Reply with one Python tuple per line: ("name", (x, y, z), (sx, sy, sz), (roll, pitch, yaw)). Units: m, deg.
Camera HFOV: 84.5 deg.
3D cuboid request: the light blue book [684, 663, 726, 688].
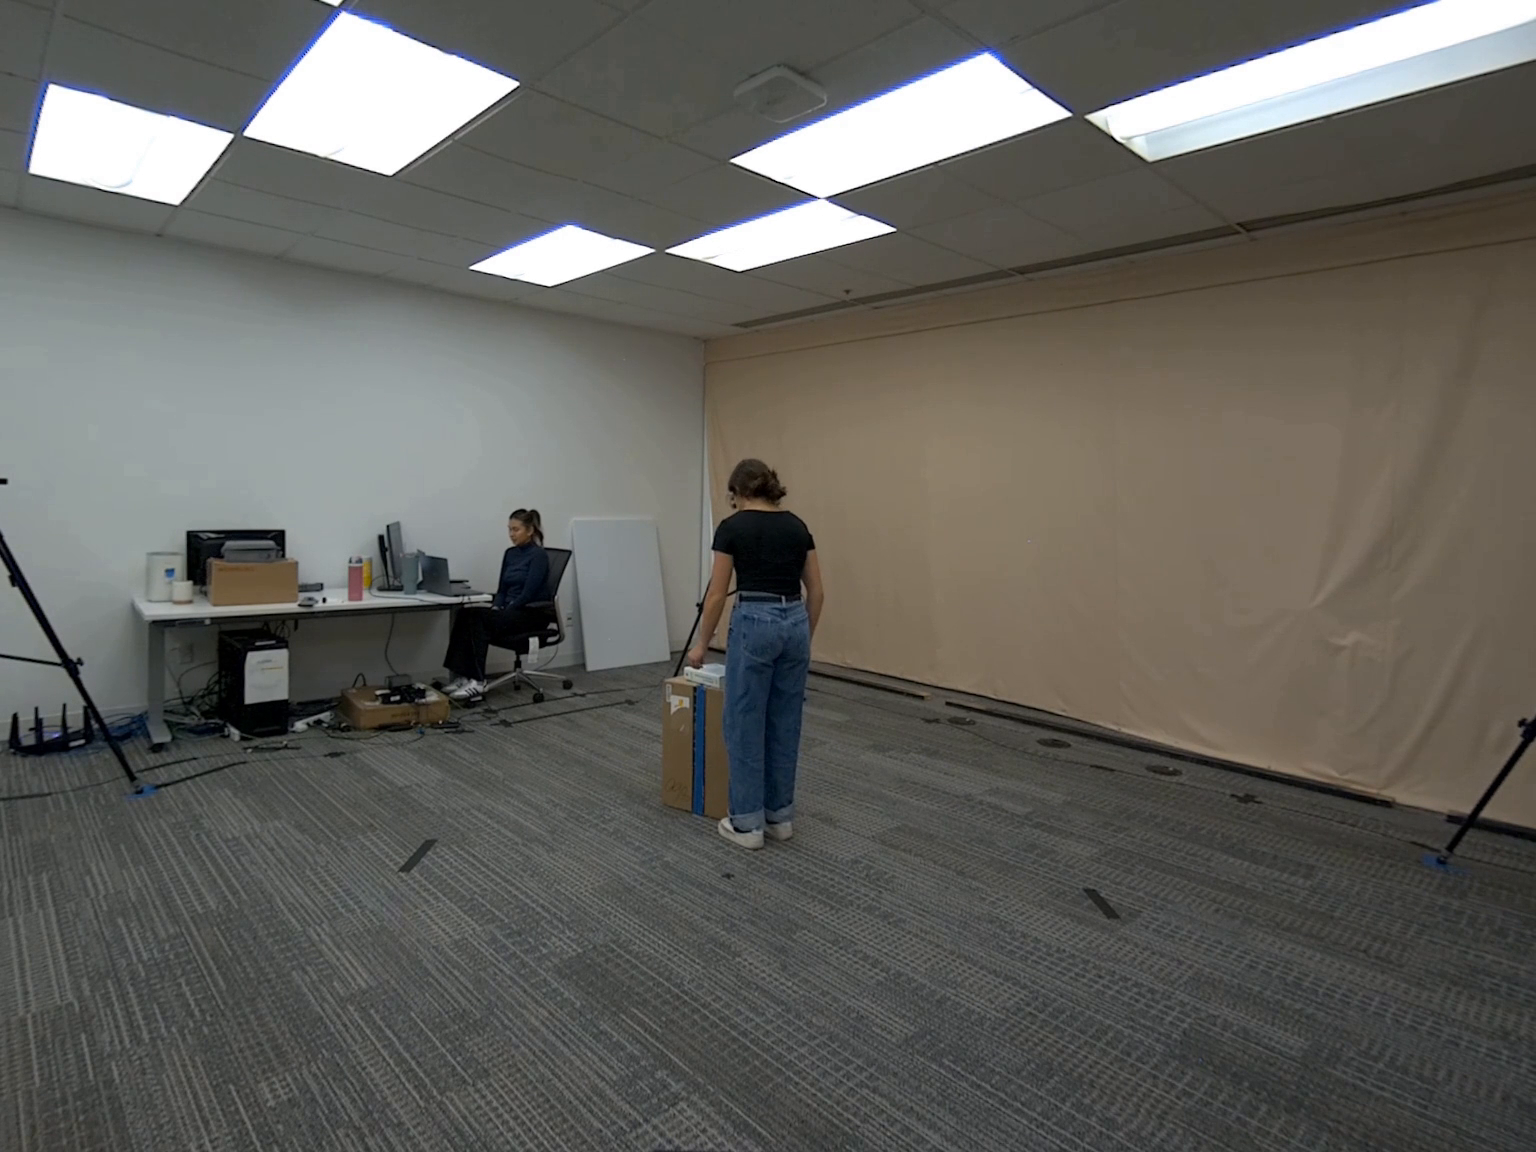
("light blue book", (-0.226, 0.448, 3.802), (0.187, 0.059, 0.268), (-1, 5, -41))
